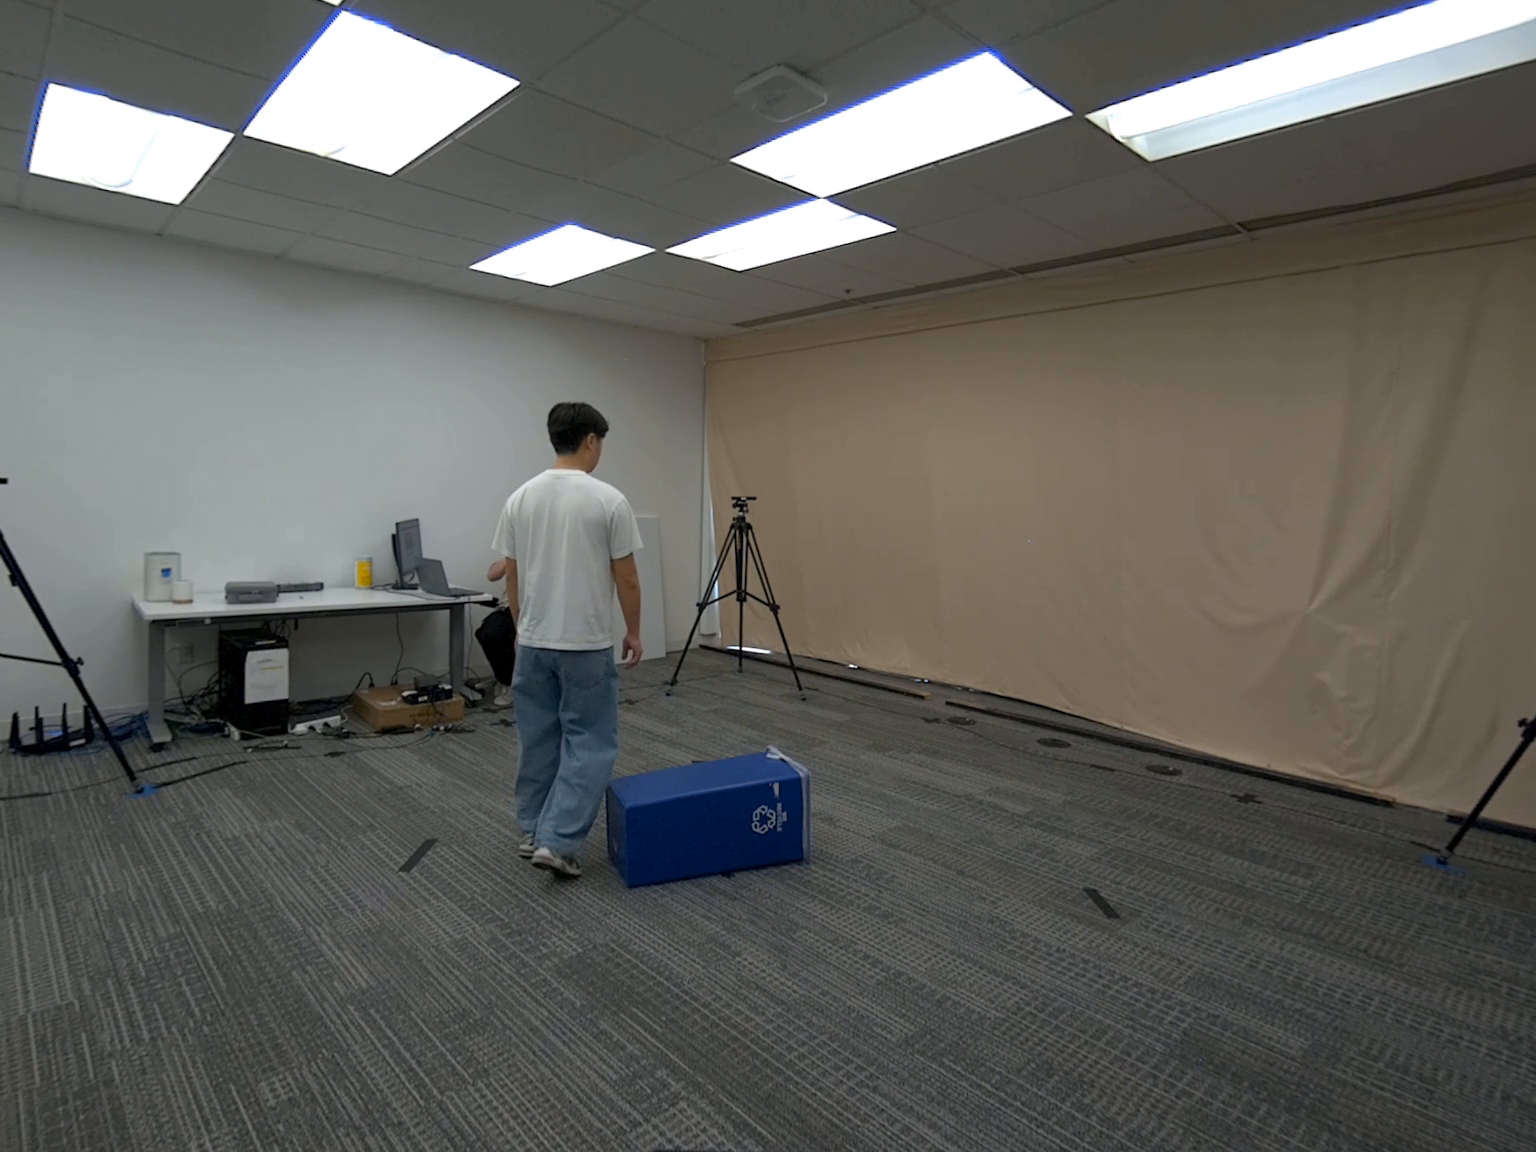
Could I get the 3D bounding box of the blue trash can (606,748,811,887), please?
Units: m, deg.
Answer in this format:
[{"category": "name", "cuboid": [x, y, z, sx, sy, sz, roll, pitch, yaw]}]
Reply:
[{"category": "blue trash can", "cuboid": [-0.239, 0.927, 3.233, 0.702, 0.377, 0.381, -4, 5, -23]}]
